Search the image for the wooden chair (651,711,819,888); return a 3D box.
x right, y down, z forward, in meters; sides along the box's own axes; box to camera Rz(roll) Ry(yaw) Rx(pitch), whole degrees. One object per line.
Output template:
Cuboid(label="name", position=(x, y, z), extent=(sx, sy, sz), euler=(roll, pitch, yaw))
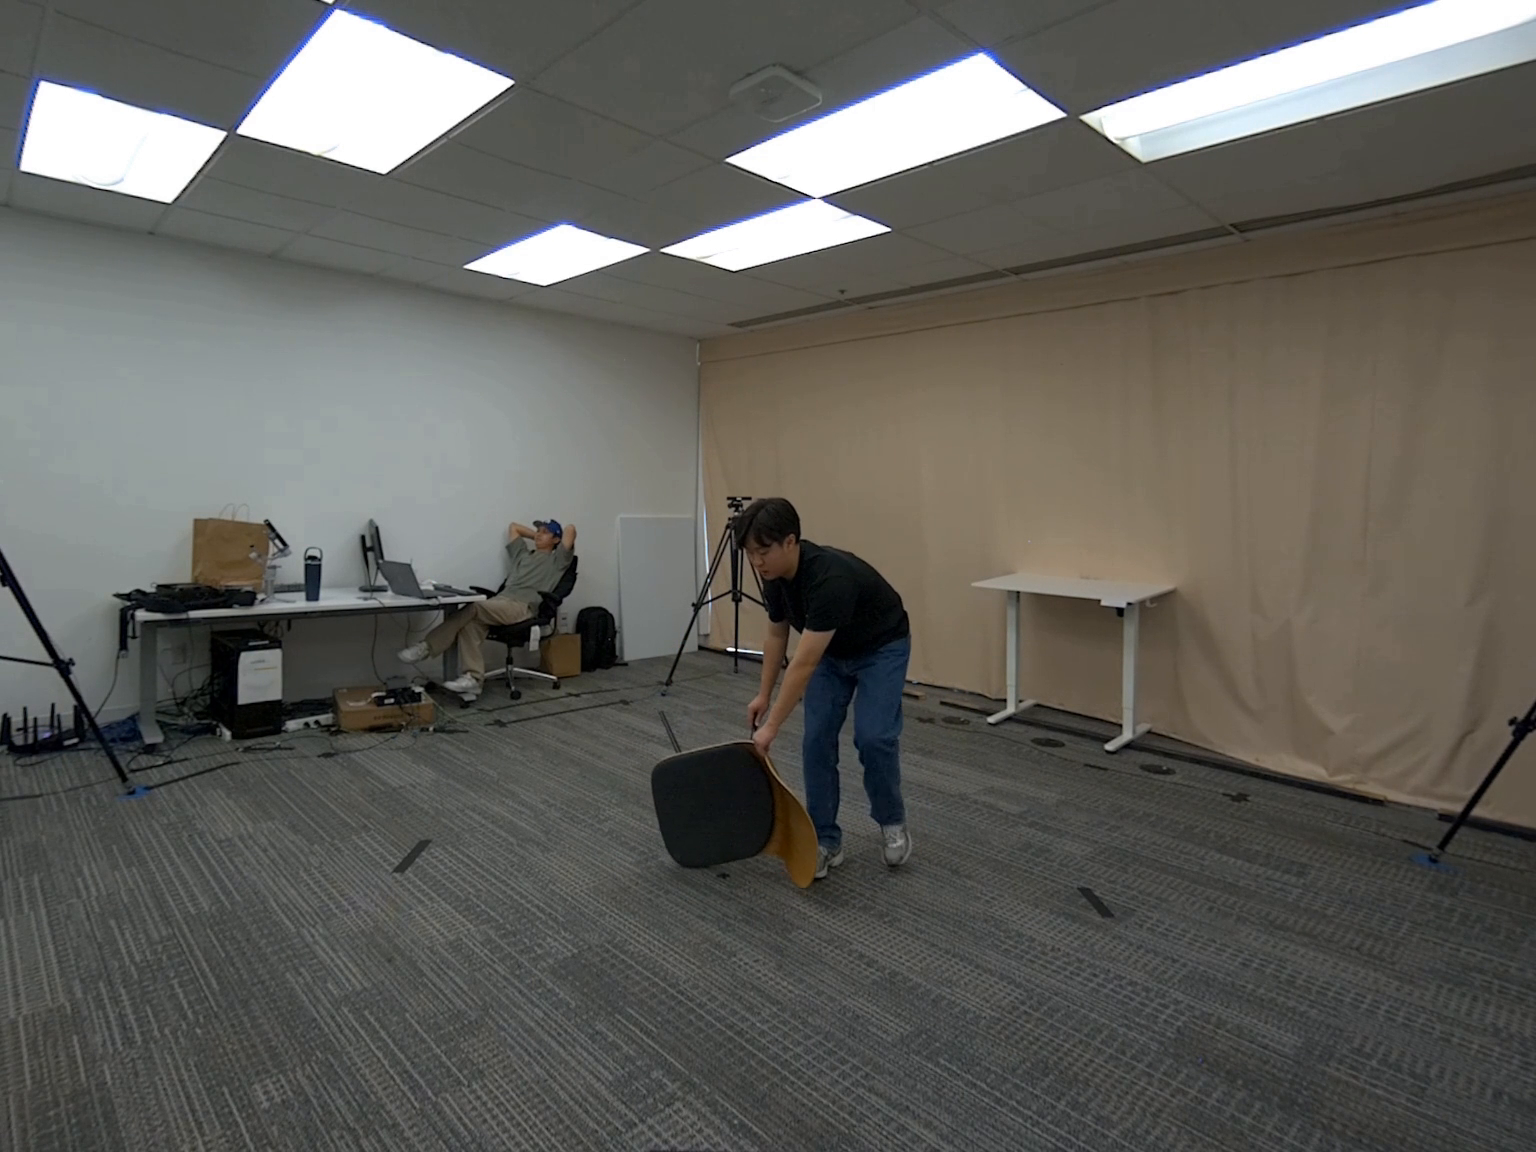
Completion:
Cuboid(label="wooden chair", position=(-0.165, 0.837, 3.169), extent=(0.521, 0.472, 0.891), euler=(-13, 15, -6))
